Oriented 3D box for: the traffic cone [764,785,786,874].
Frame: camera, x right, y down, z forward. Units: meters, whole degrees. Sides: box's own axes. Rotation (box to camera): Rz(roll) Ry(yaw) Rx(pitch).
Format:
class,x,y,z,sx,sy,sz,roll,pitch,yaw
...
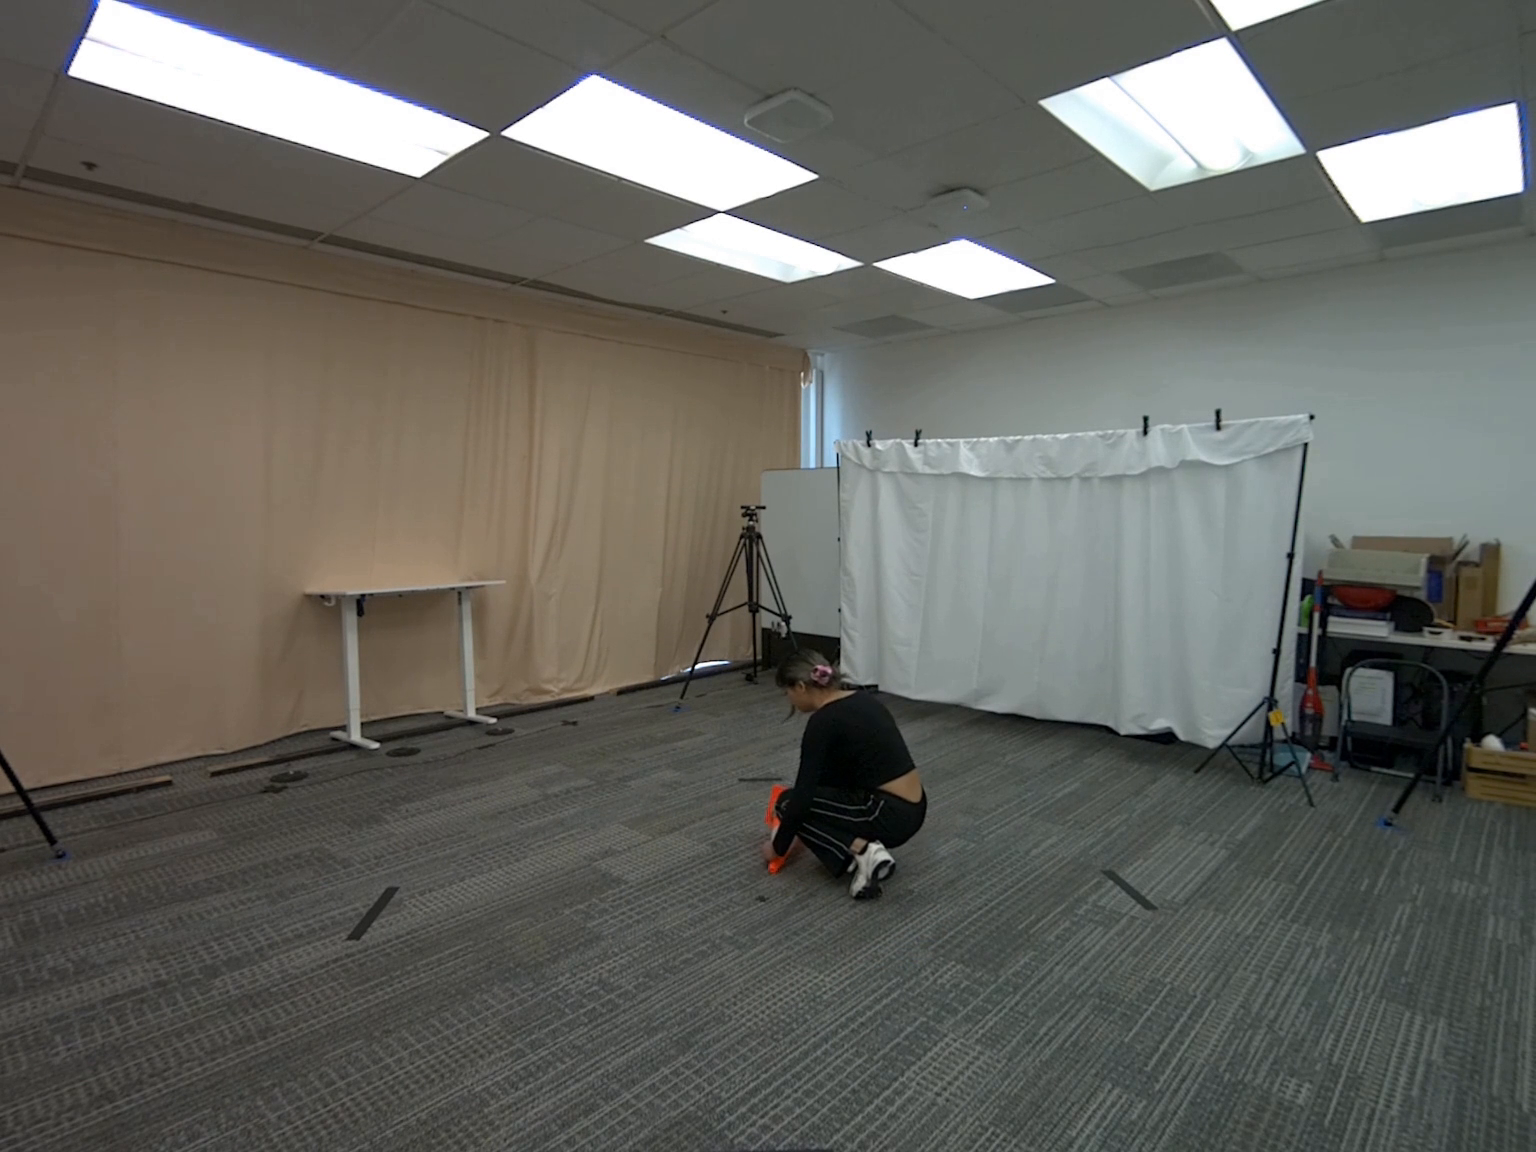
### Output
class,x,y,z,sx,sy,sz,roll,pitch,yaw
traffic cone,0.064,1.038,3.350,0.208,0.201,0.381,6,17,14
